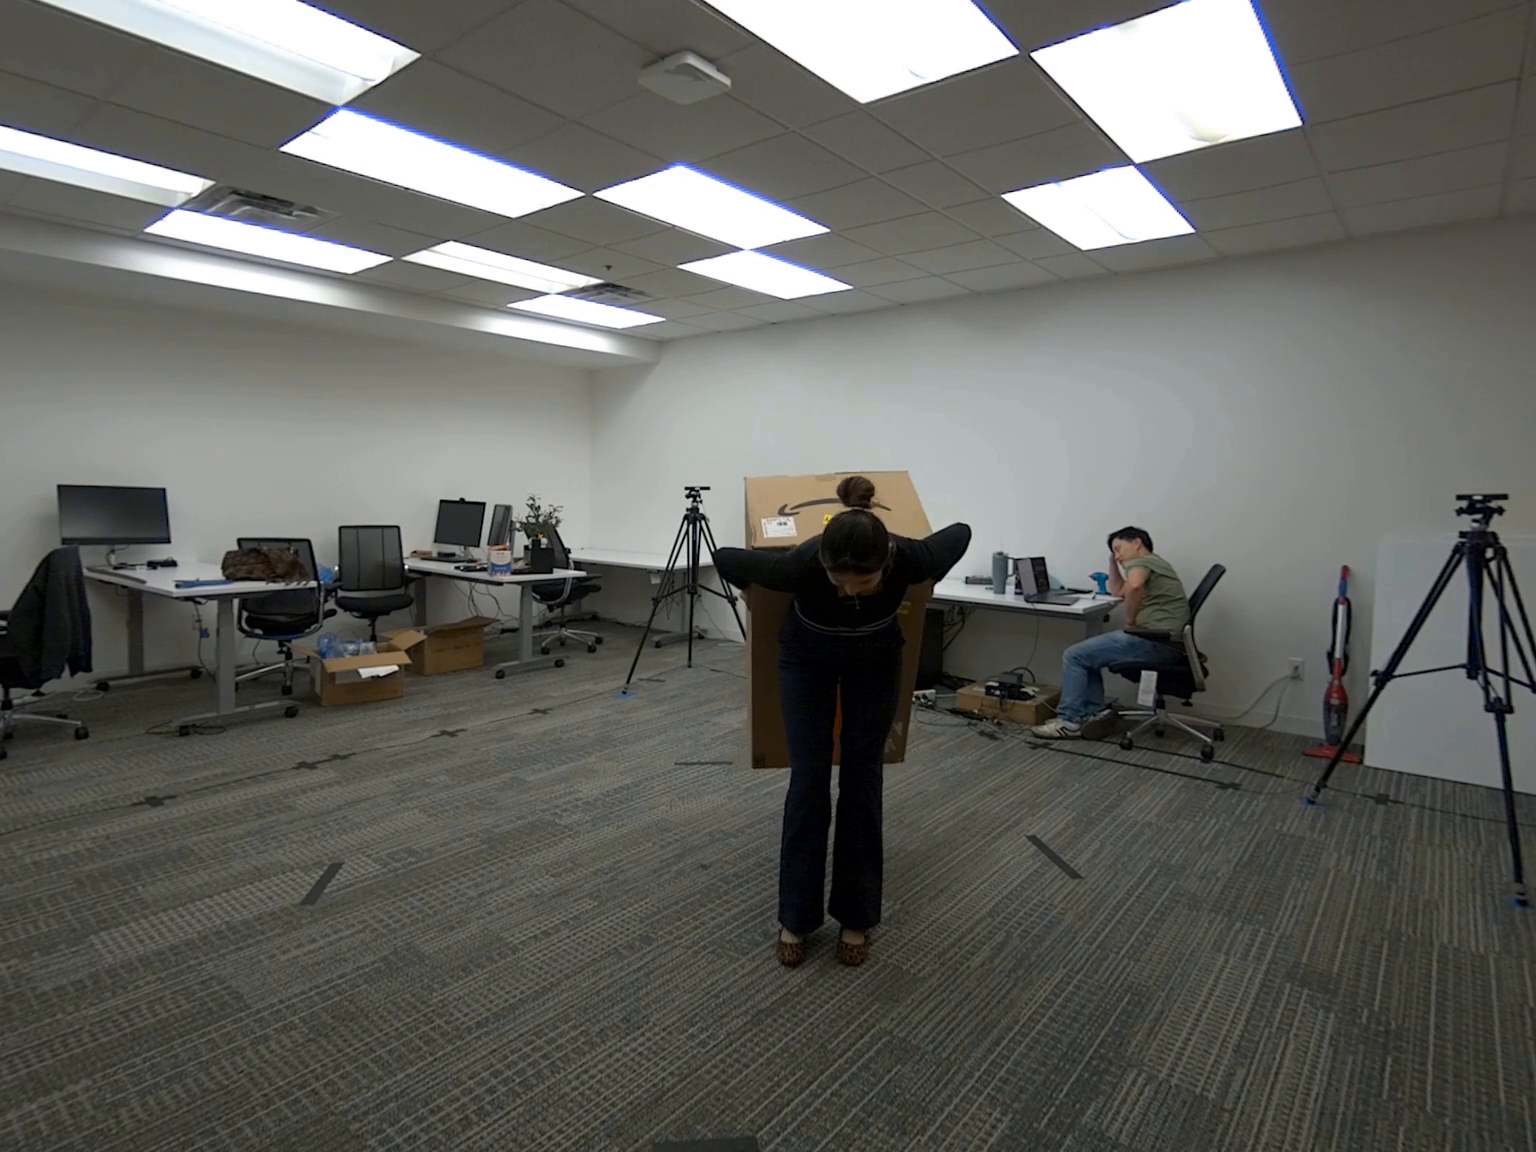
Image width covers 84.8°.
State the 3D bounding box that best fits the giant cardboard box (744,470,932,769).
[{"bbox_3d":[0.199,0.177,3.070,0.577,0.998,0.438,-1,35,-1],"label":"giant cardboard box"}]
